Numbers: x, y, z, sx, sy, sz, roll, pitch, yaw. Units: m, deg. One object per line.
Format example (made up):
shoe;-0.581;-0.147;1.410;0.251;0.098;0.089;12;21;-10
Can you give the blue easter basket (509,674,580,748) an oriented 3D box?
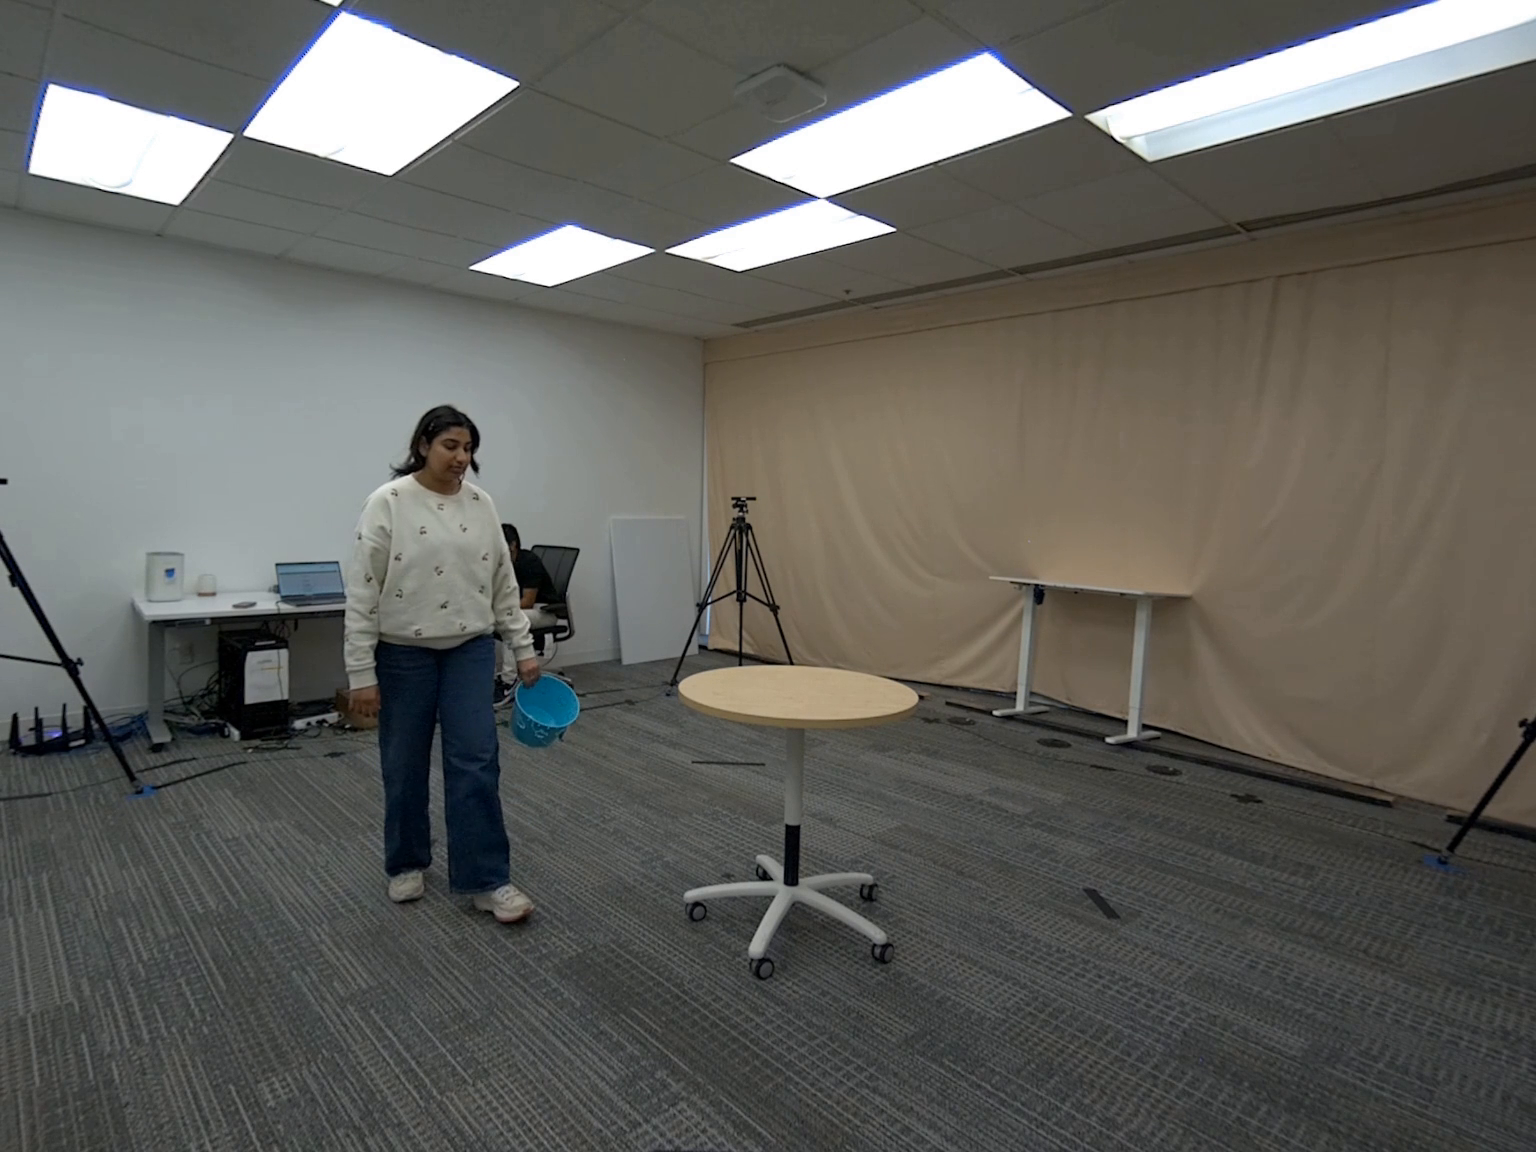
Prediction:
blue easter basket;-0.792;0.497;2.989;0.239;0.155;0.249;23;32;-17
